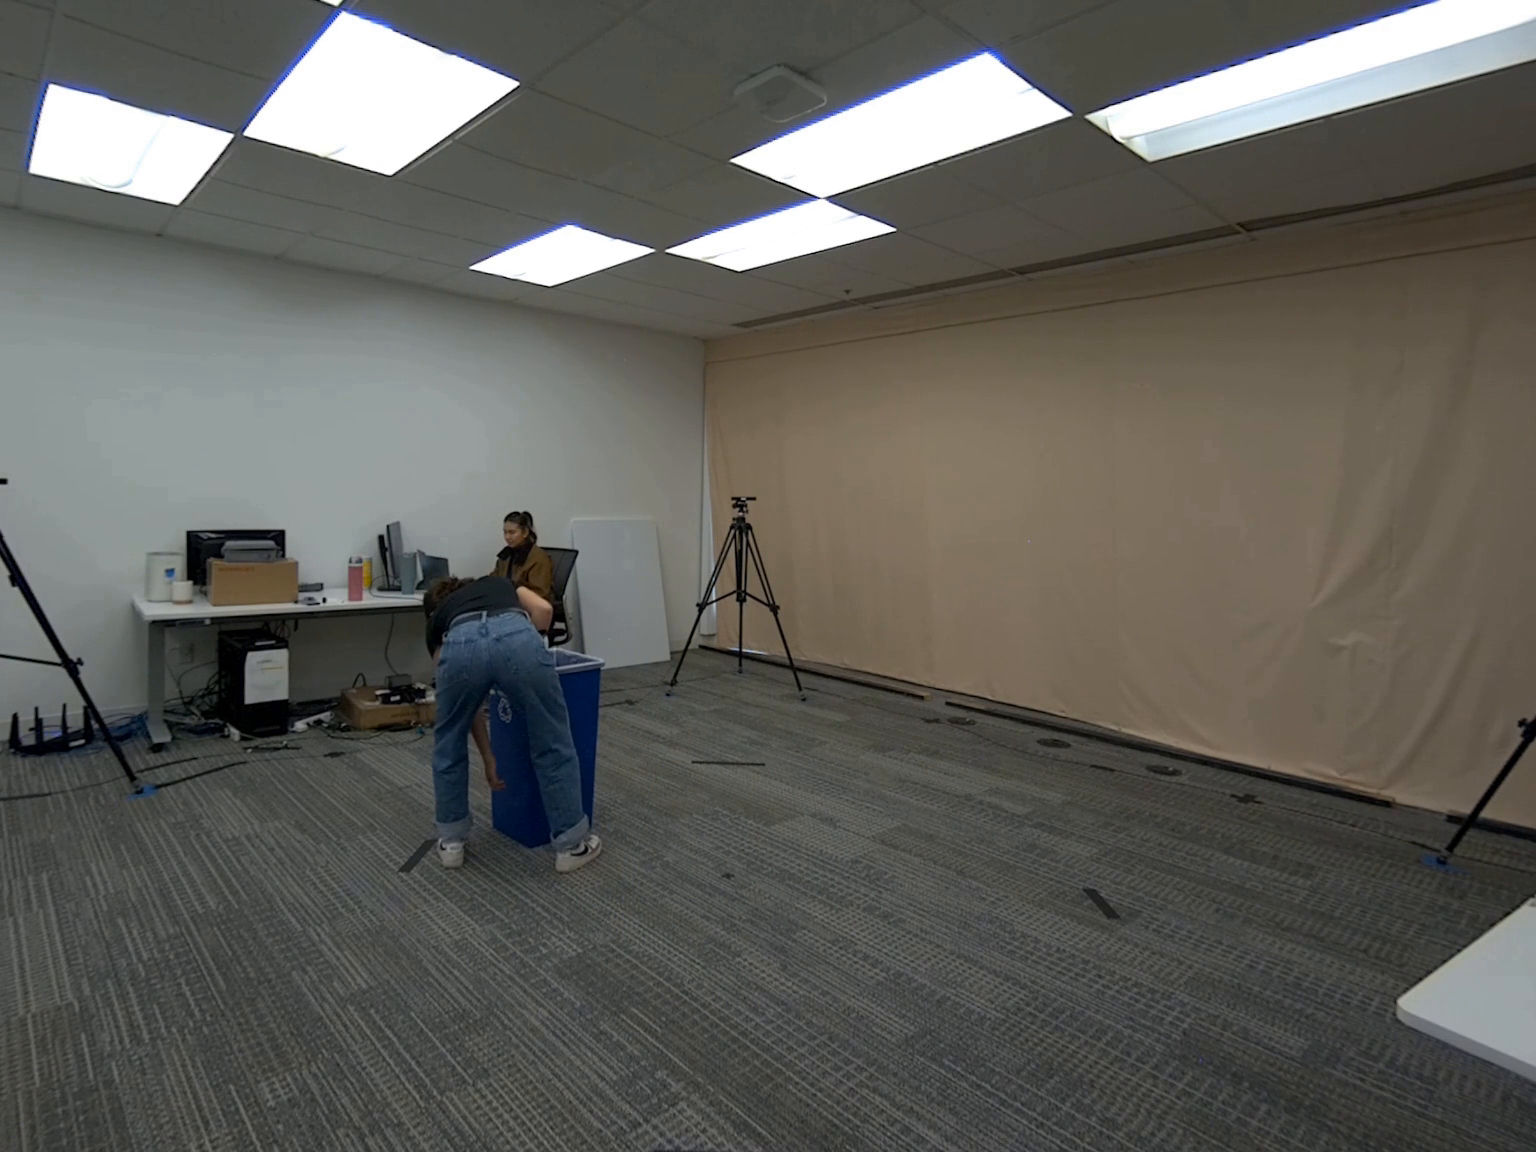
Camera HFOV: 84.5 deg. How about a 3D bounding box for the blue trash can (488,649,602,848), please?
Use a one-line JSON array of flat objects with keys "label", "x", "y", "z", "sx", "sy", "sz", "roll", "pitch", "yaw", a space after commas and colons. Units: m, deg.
[{"label": "blue trash can", "x": -0.939, "y": 0.700, "z": 3.507, "sx": 0.388, "sy": 0.712, "sz": 0.365, "roll": 4, "pitch": 4, "yaw": 43}]
